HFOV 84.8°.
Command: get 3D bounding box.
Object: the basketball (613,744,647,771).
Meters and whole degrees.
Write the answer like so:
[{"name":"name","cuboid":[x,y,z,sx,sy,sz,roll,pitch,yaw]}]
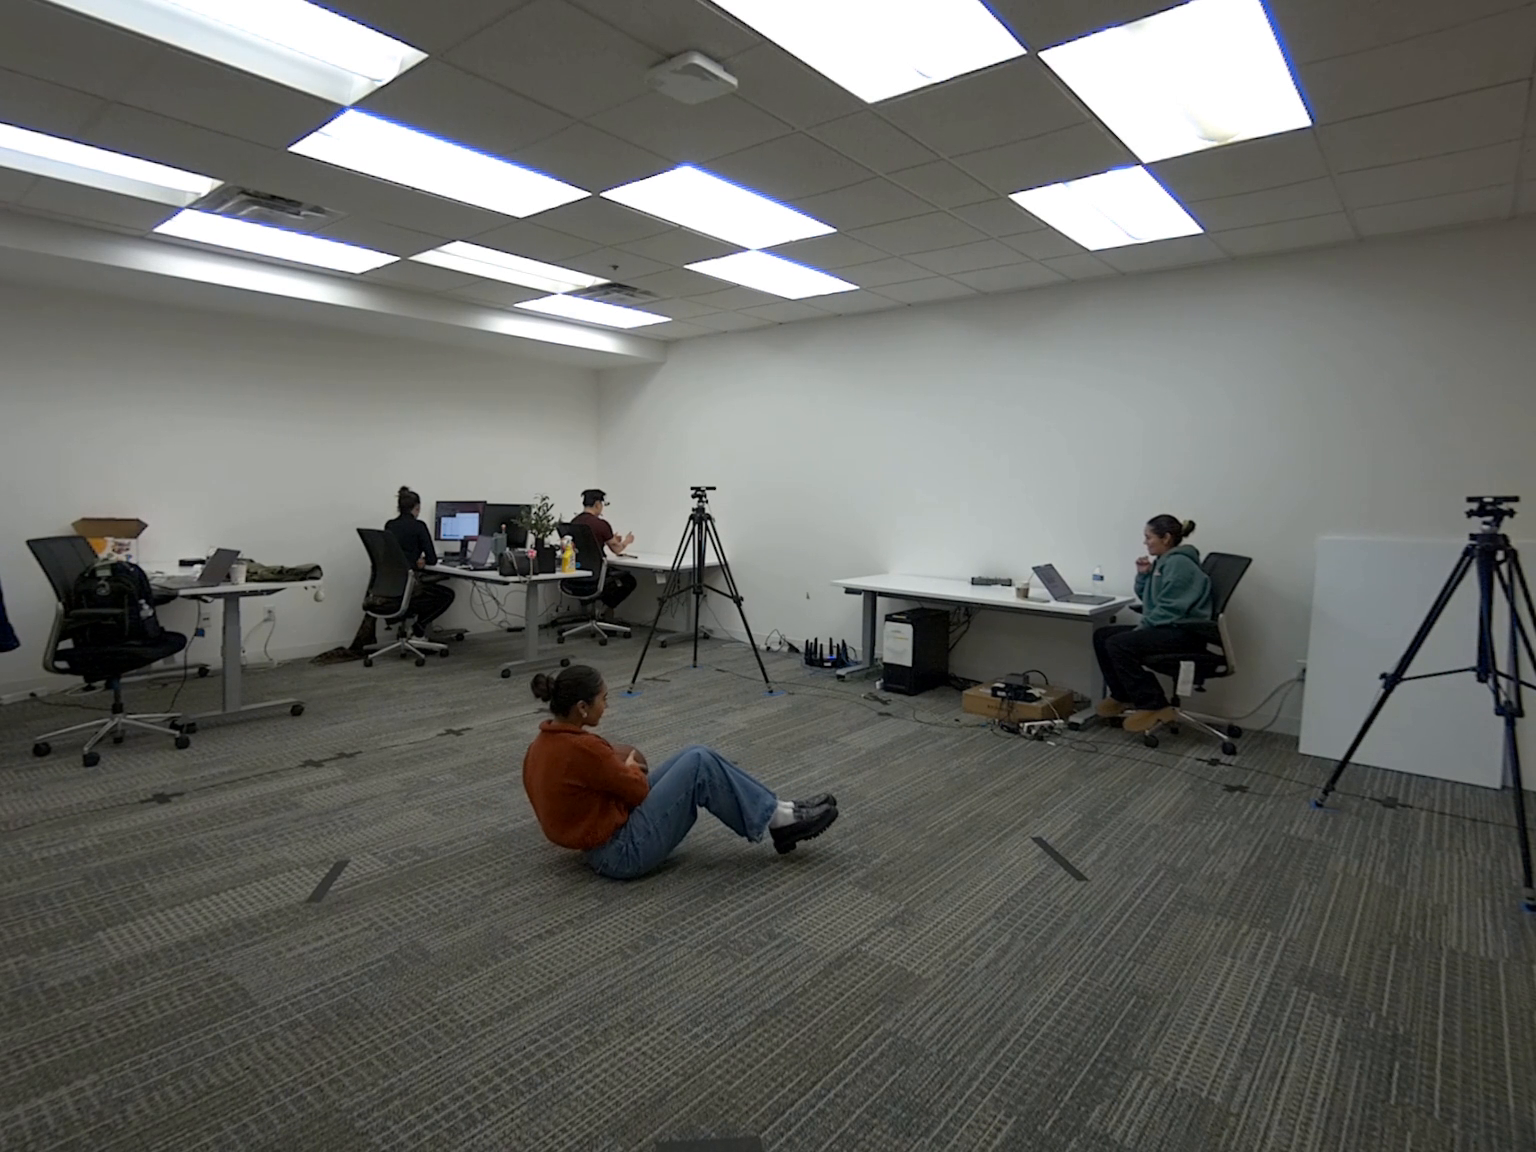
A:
[{"name":"basketball","cuboid":[-0.626,0.798,3.489,0.235,0.235,0.237,1,4,-2]}]
